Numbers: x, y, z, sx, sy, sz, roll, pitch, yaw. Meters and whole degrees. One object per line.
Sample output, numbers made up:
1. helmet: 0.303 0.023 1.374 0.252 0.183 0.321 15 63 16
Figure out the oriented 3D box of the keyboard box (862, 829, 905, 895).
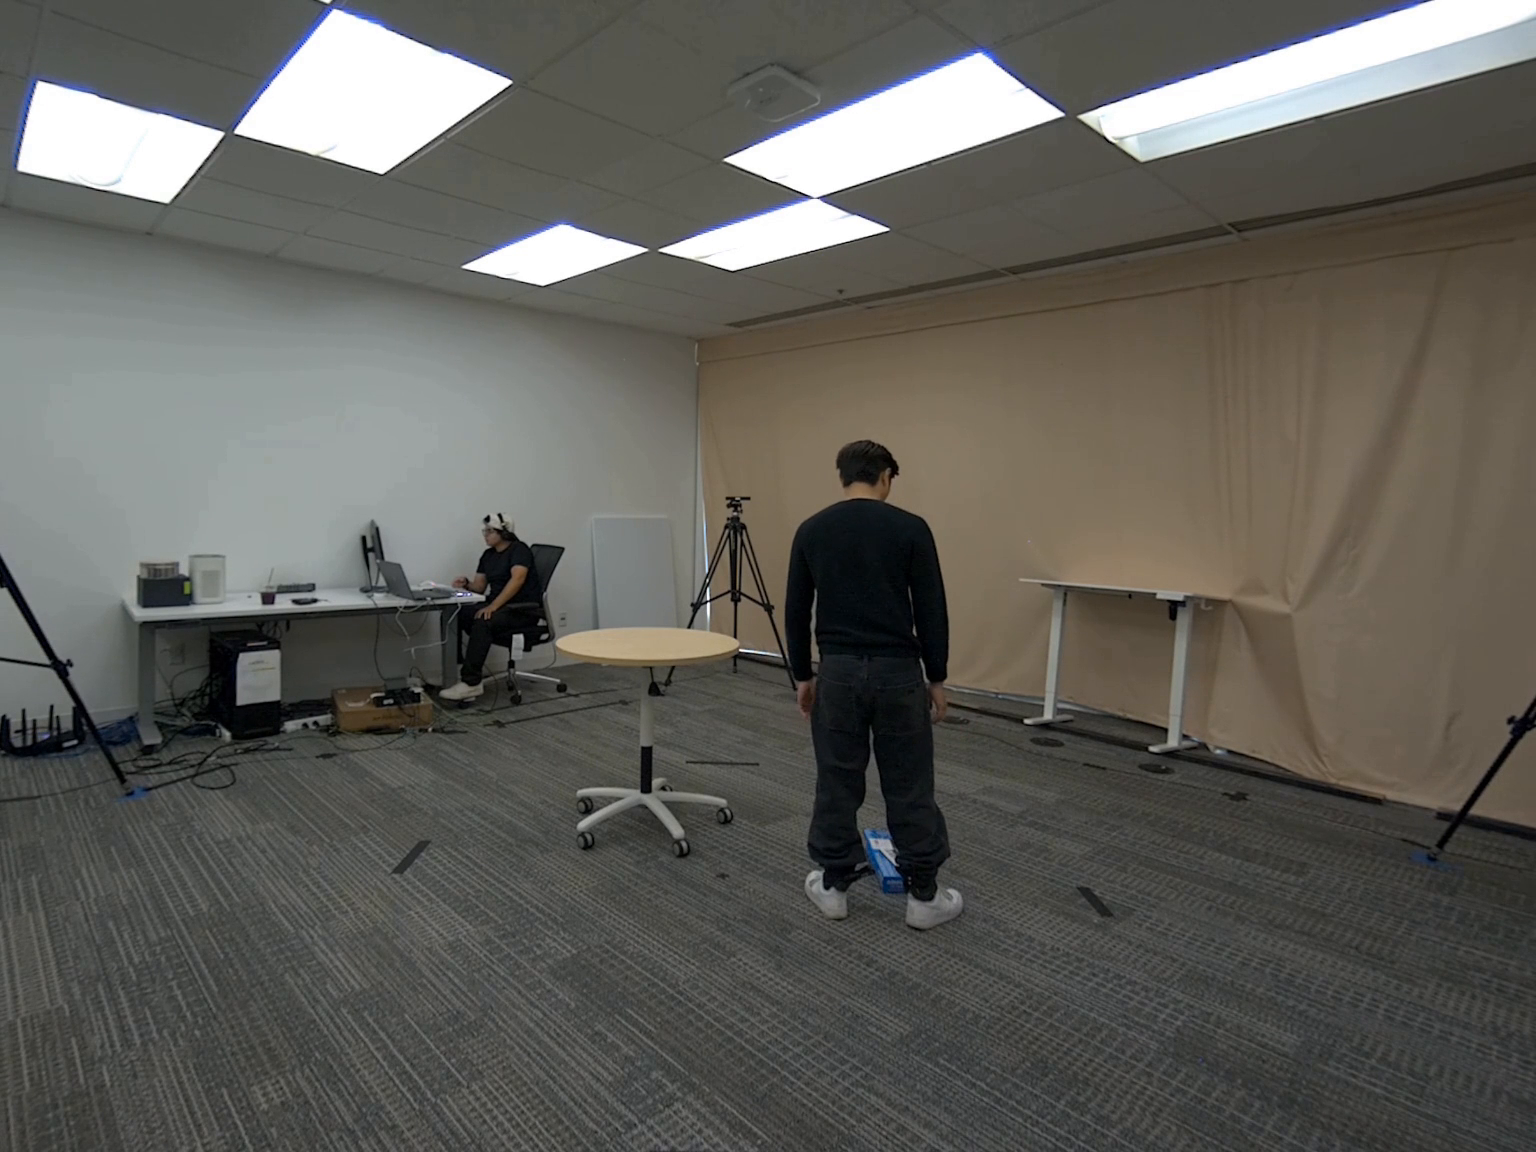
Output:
1. keyboard box: 0.473 1.082 3.212 0.175 0.059 0.439 1 5 -3
